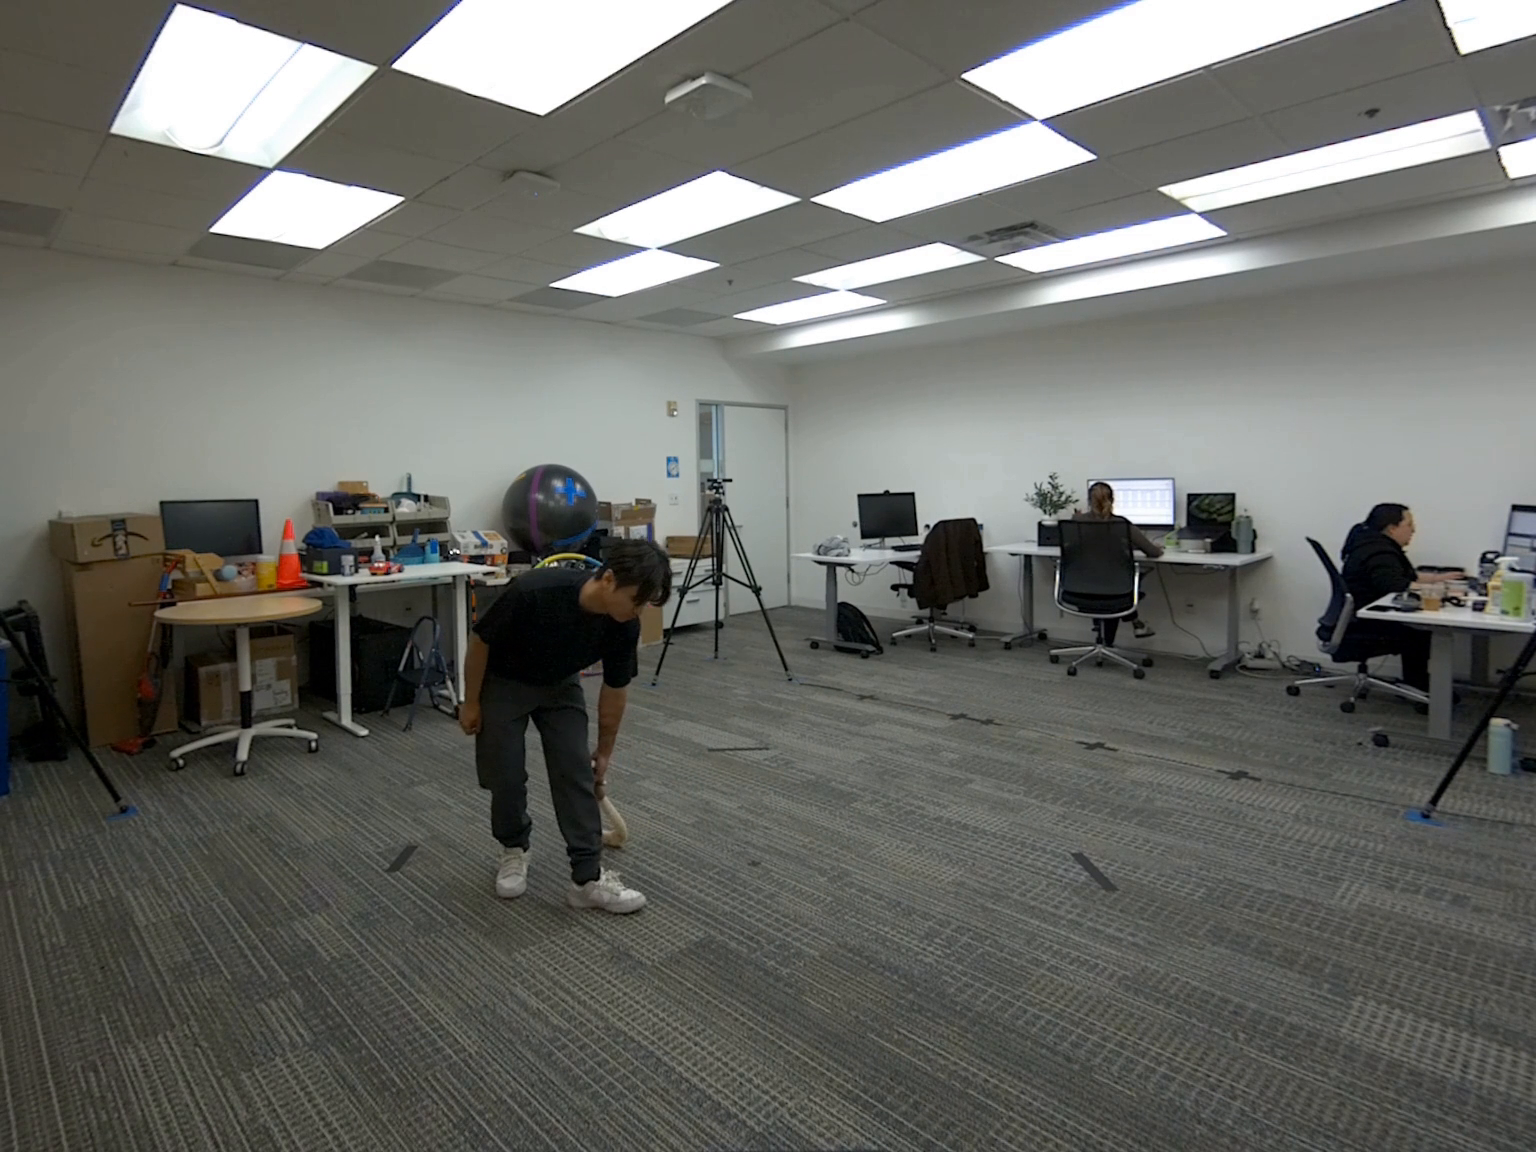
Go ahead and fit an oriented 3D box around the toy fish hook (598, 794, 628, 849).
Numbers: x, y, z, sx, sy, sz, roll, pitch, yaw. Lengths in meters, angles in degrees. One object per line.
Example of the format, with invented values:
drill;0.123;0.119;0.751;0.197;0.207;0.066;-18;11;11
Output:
toy fish hook;-0.650;0.841;3.152;0.228;0.492;0.049;5;38;16
